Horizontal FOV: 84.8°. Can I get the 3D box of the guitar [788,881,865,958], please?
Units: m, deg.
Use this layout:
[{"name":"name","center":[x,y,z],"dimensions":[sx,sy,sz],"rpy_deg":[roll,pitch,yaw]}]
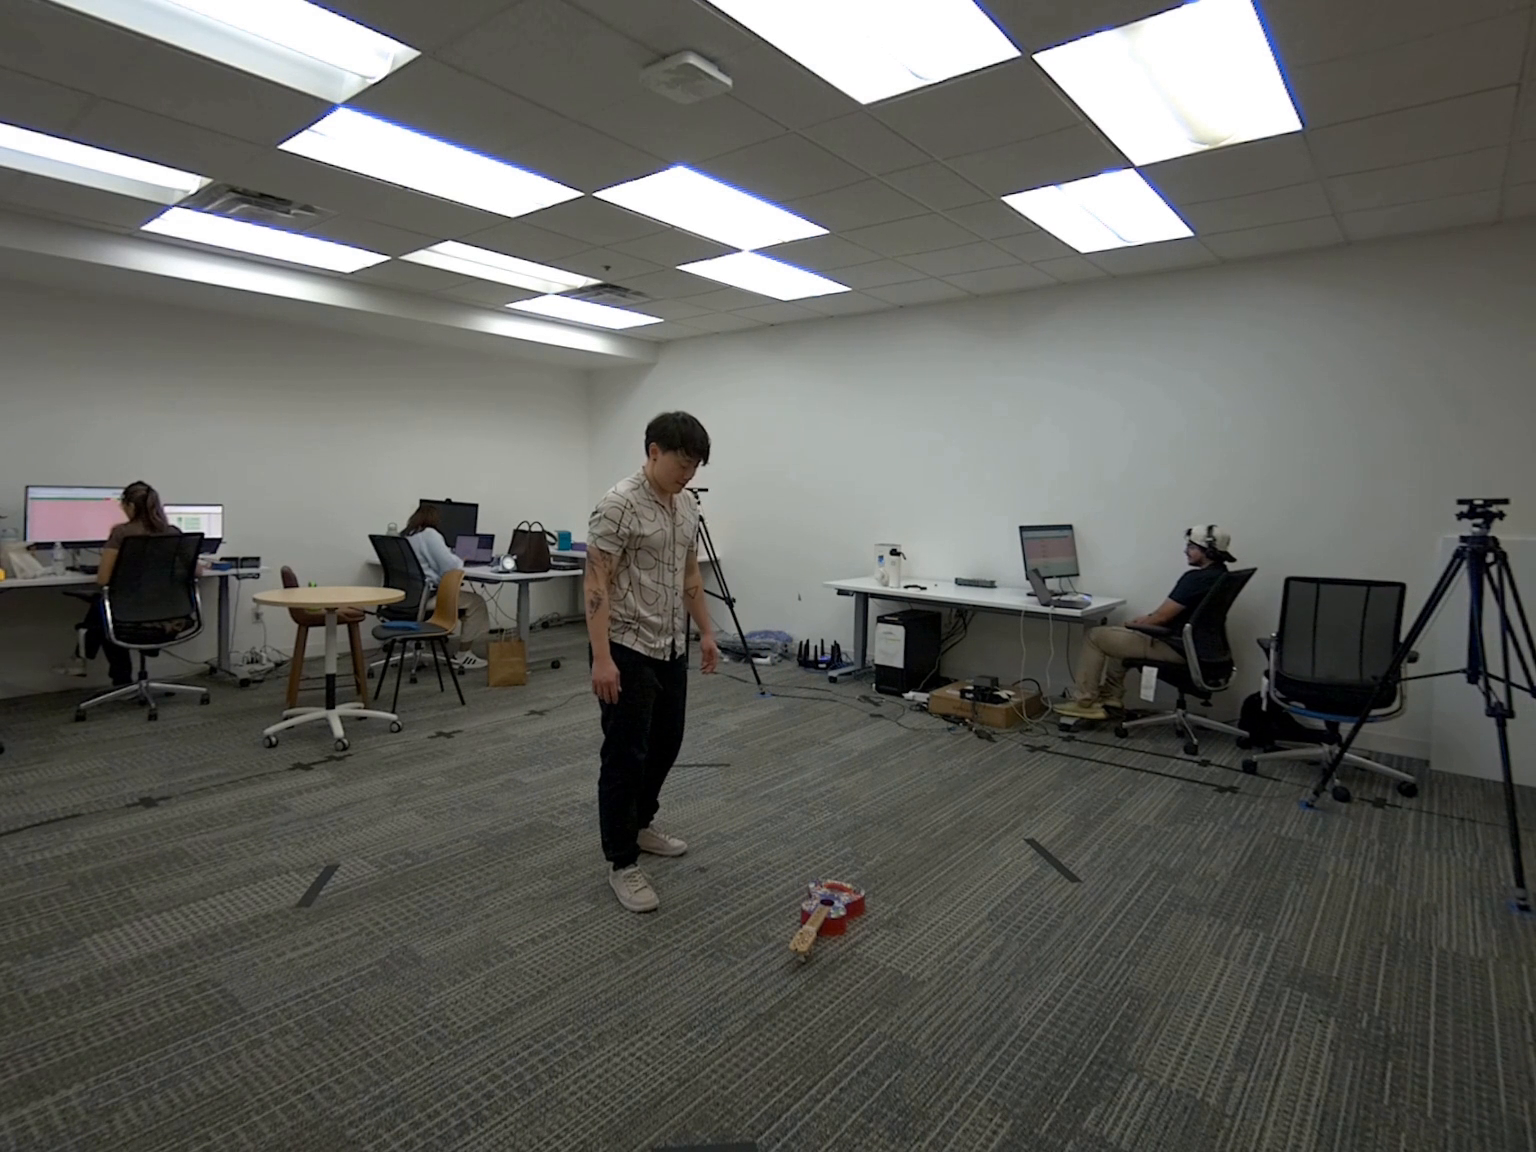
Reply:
[{"name":"guitar","center":[0.136,1.085,2.699],"dimensions":[0.199,0.070,0.485],"rpy_deg":[4,6,30]}]
